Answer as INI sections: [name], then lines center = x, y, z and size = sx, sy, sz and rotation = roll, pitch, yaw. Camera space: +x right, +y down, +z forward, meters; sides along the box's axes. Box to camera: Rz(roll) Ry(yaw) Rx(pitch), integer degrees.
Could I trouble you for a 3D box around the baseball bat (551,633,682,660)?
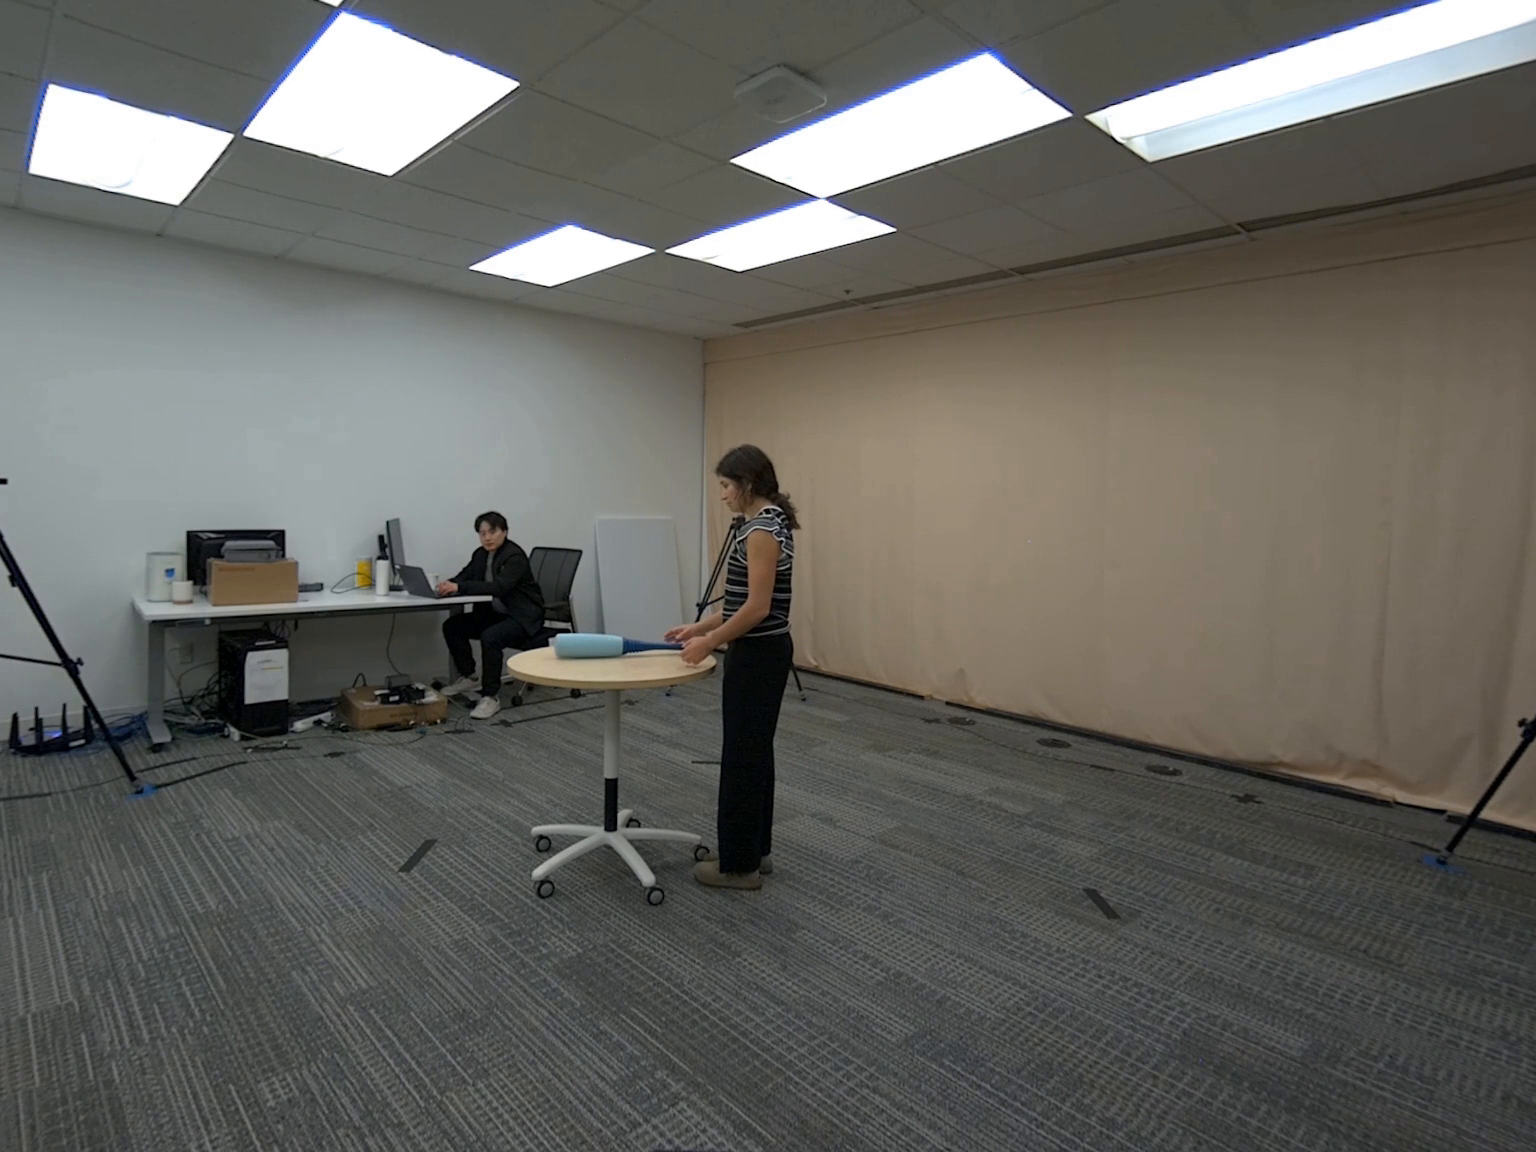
[baseball bat]
center = -0.544, 0.268, 3.206
size = 0.535, 0.089, 0.090
rotation = 2, 4, -18
